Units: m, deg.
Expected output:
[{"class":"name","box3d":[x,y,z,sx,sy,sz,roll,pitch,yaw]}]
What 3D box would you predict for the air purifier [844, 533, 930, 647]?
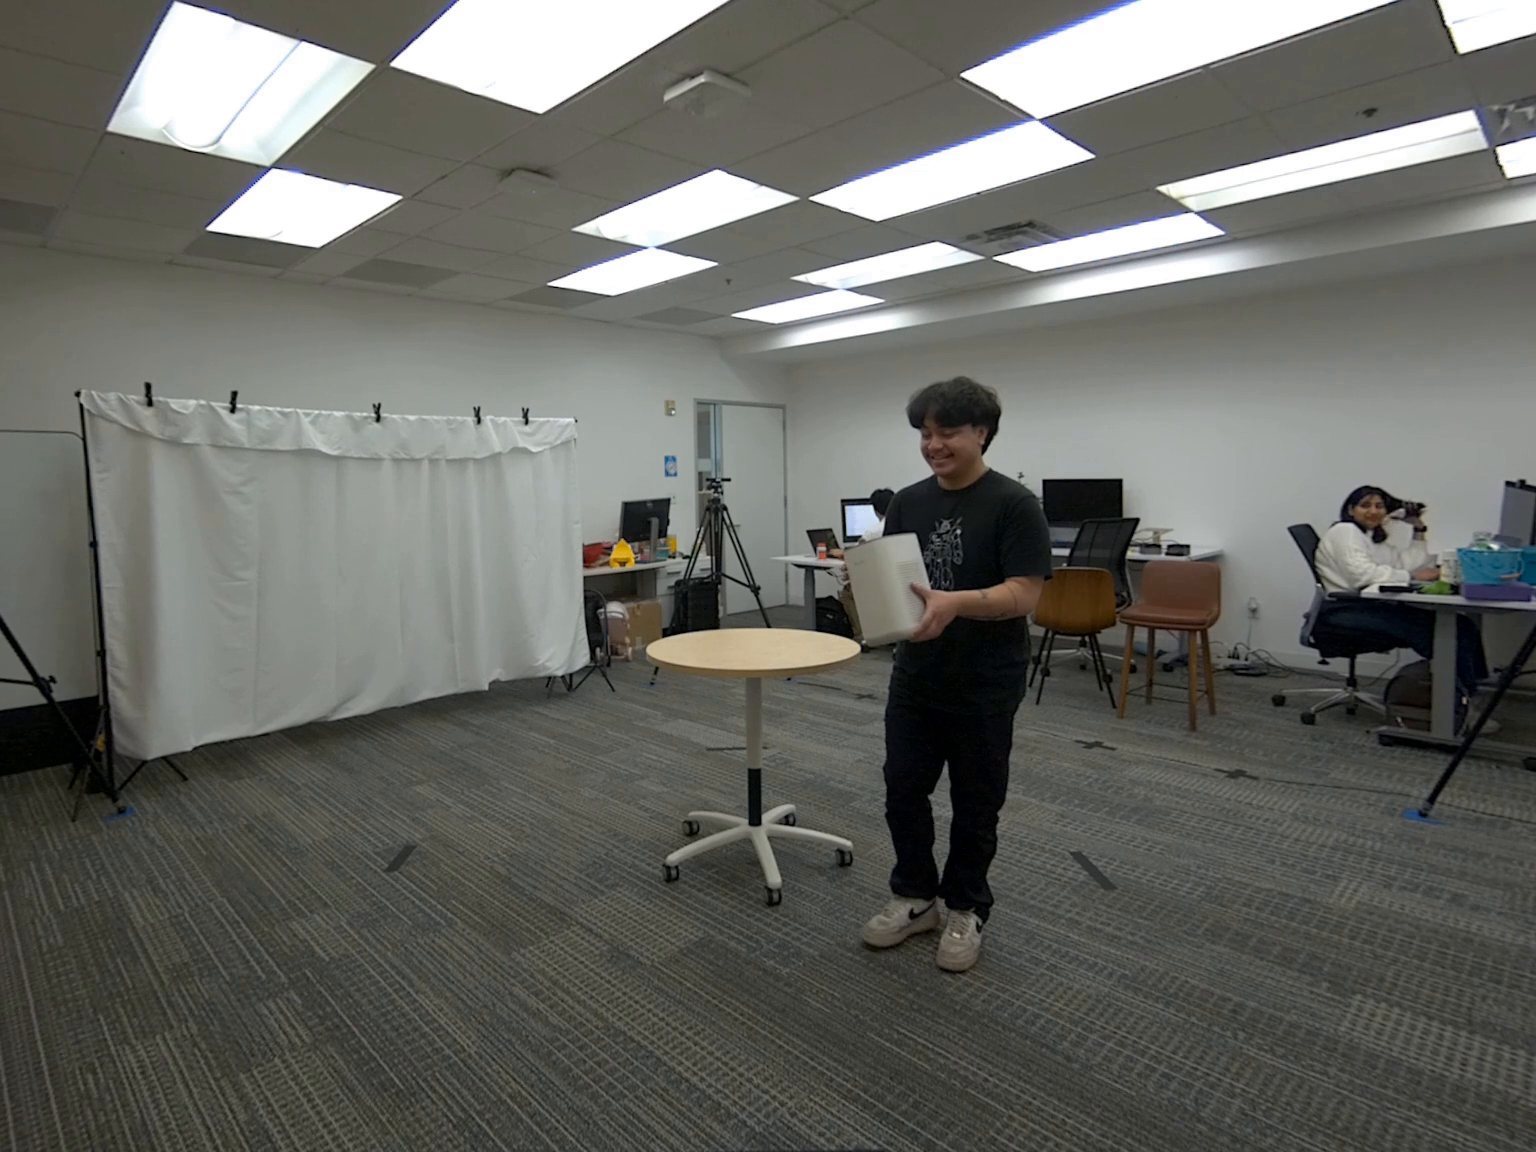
[{"class":"air purifier","box3d":[0.330,0.037,2.242,0.167,0.268,0.174,-5,-12,-42]}]
